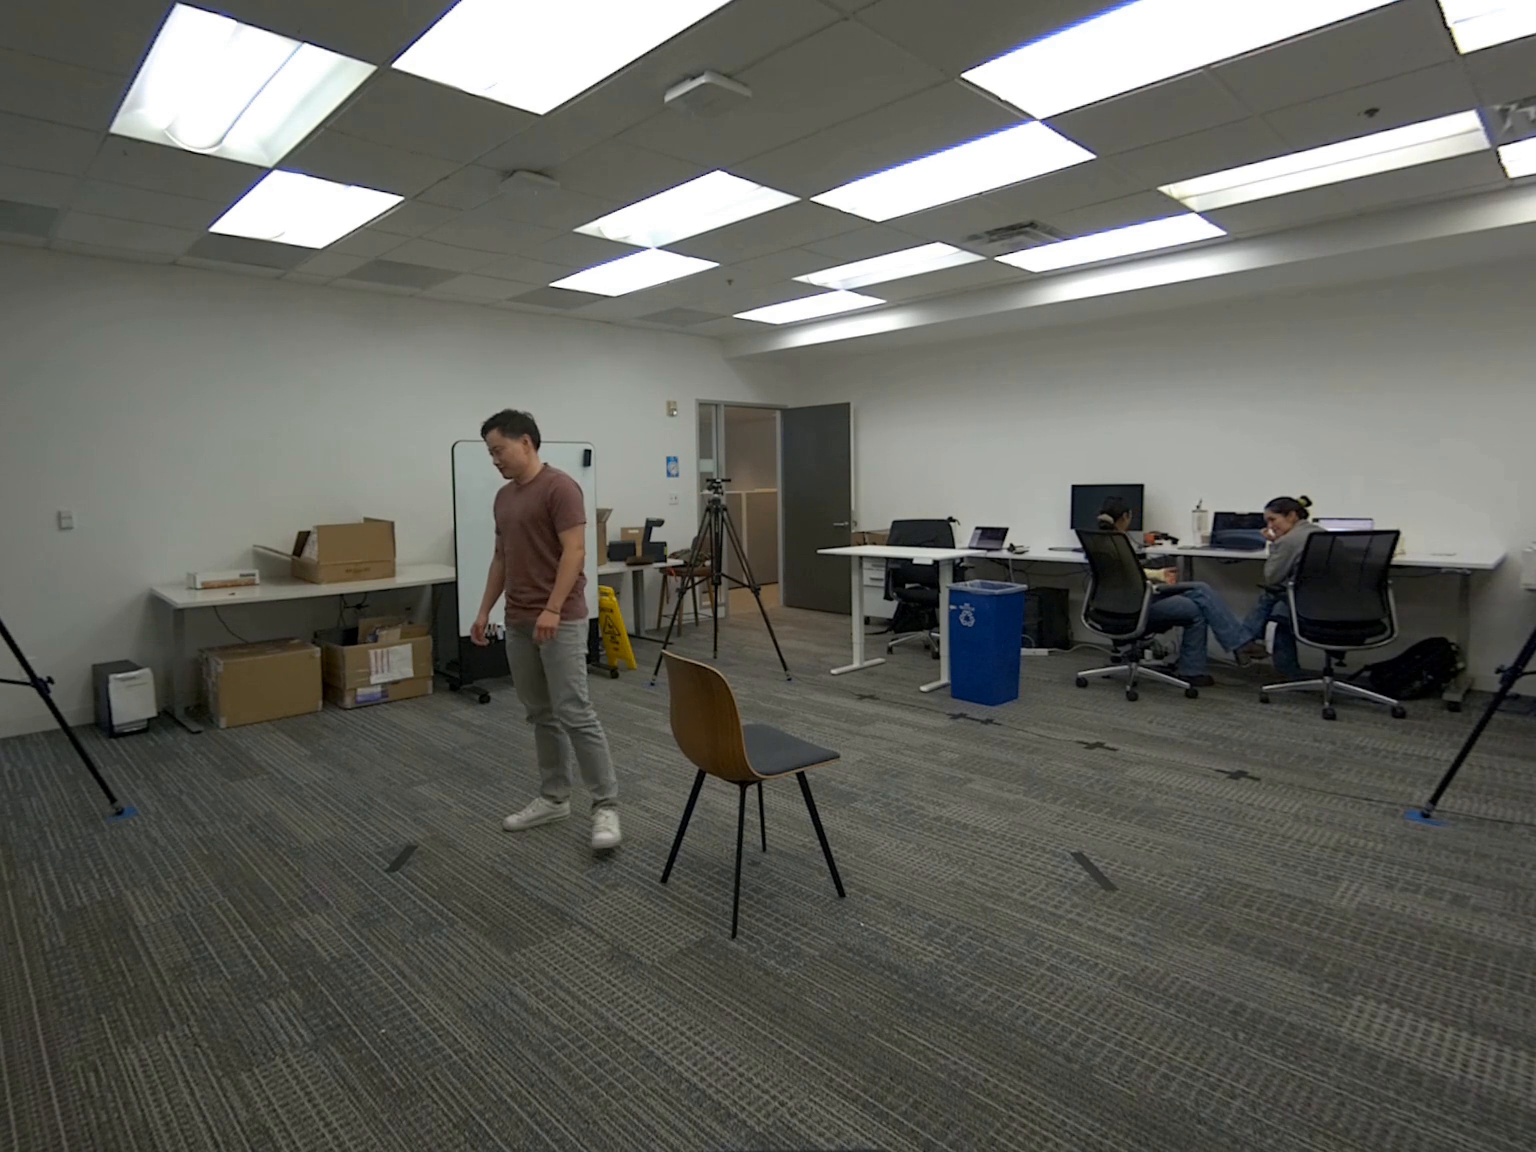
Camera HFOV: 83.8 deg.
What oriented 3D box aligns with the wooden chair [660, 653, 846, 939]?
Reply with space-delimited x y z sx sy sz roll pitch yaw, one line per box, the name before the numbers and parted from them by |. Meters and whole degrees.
wooden chair | -0.056 0.644 2.872 0.511 0.872 0.492 -9 8 -35
